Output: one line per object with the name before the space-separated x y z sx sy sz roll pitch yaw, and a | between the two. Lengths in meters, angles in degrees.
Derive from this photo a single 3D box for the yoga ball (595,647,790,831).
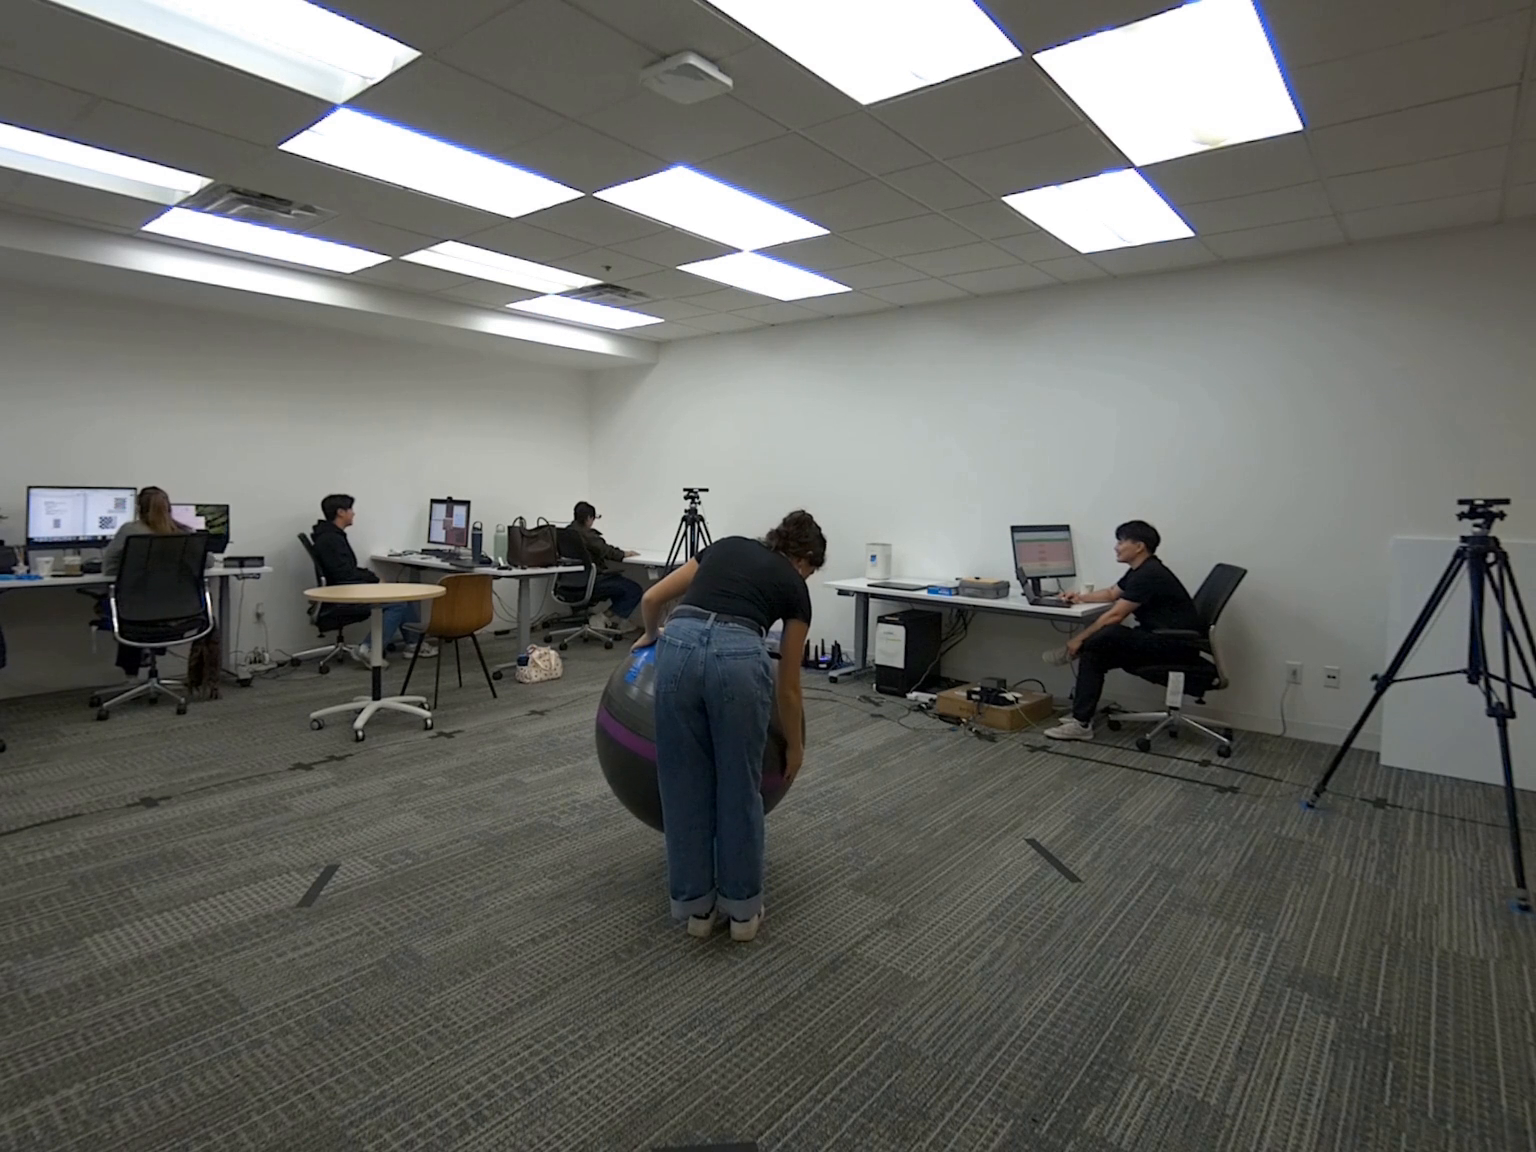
yoga ball | -0.252 0.560 3.097 0.757 0.756 0.762 1 4 -2
